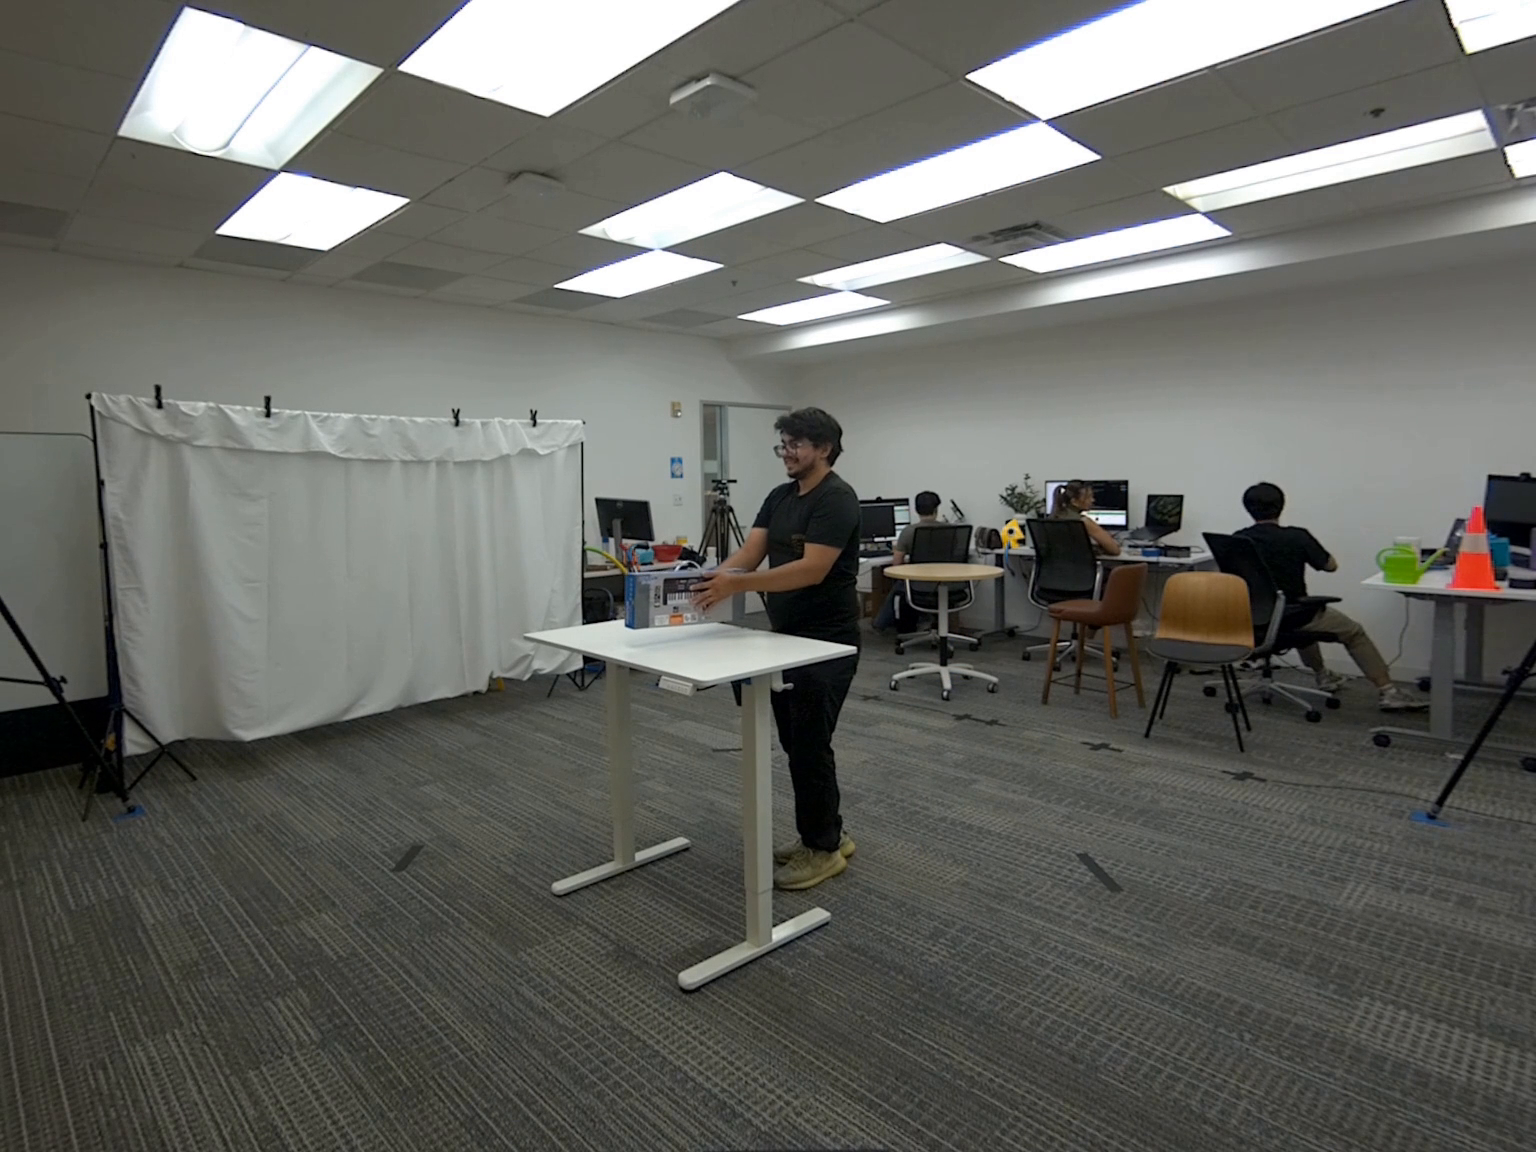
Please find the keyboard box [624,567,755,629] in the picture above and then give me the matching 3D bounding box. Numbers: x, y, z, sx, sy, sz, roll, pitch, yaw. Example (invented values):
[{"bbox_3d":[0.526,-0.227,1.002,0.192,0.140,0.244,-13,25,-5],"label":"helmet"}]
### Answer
[{"bbox_3d":[-0.264,0.074,2.775,0.425,0.175,0.061,-1,5,-38],"label":"keyboard box"}]
